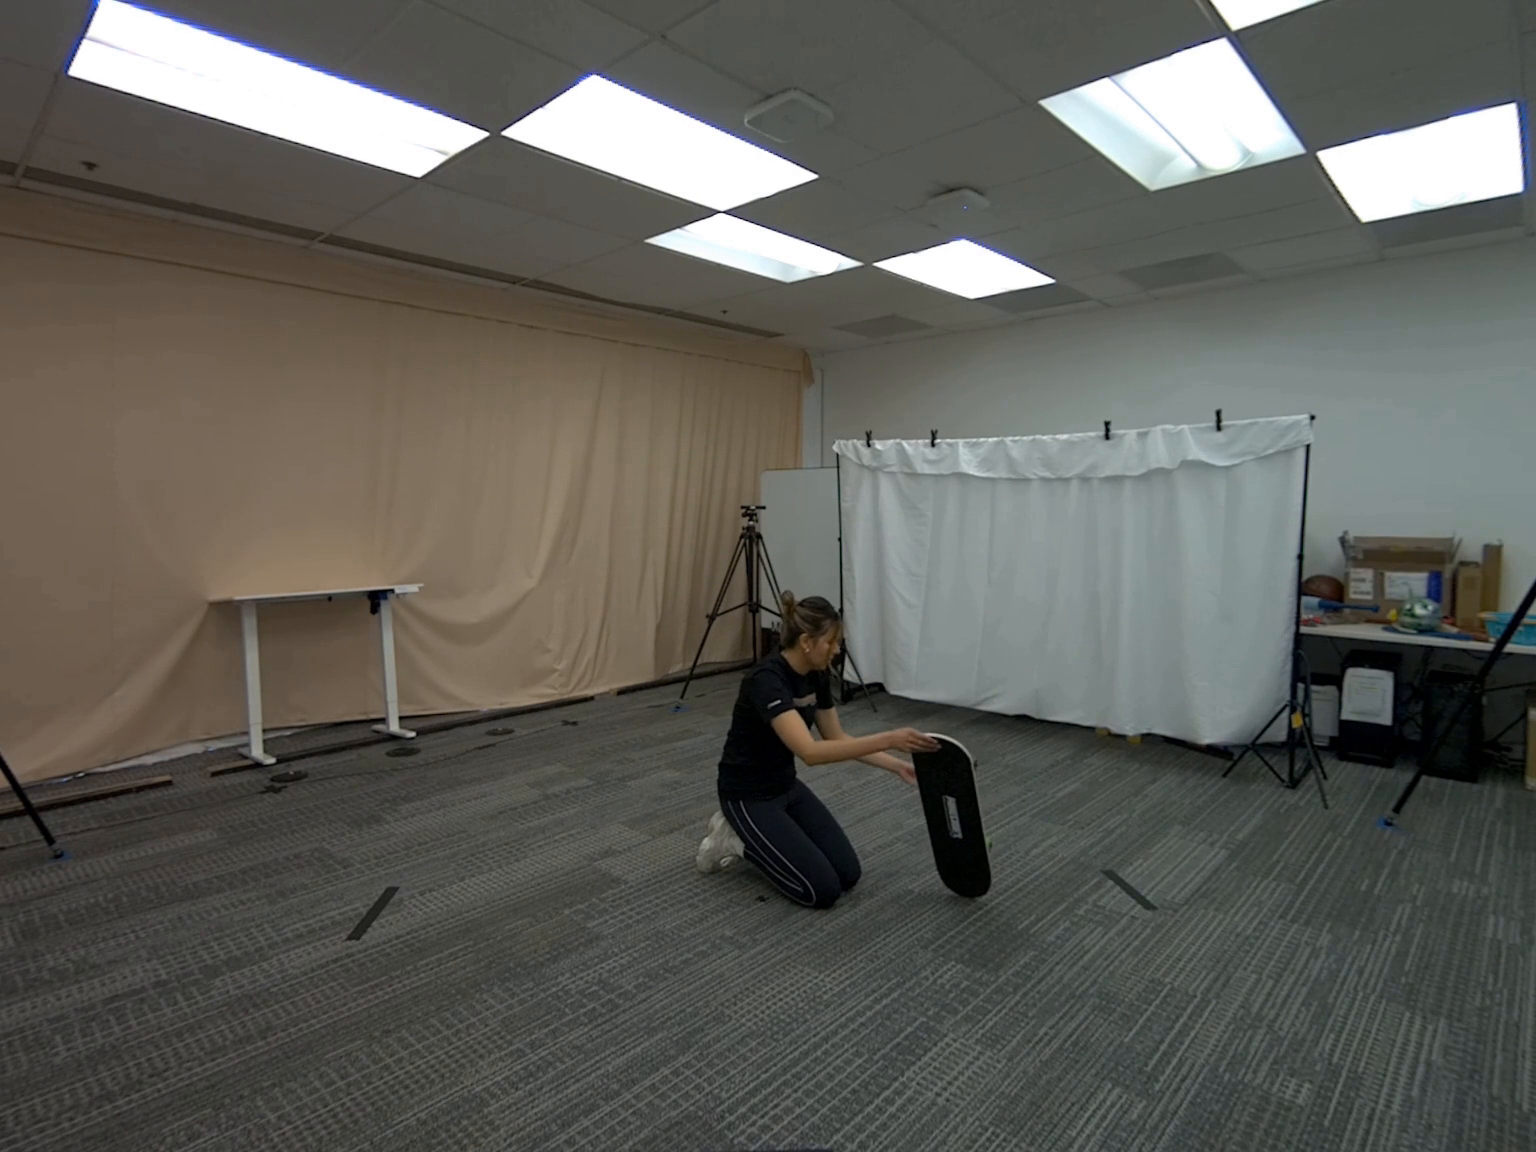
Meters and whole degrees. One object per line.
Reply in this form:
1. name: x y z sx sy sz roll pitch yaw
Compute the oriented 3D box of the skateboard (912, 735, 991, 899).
1. skateboard: 0.632 0.789 2.837 0.199 0.767 0.110 1 35 28
